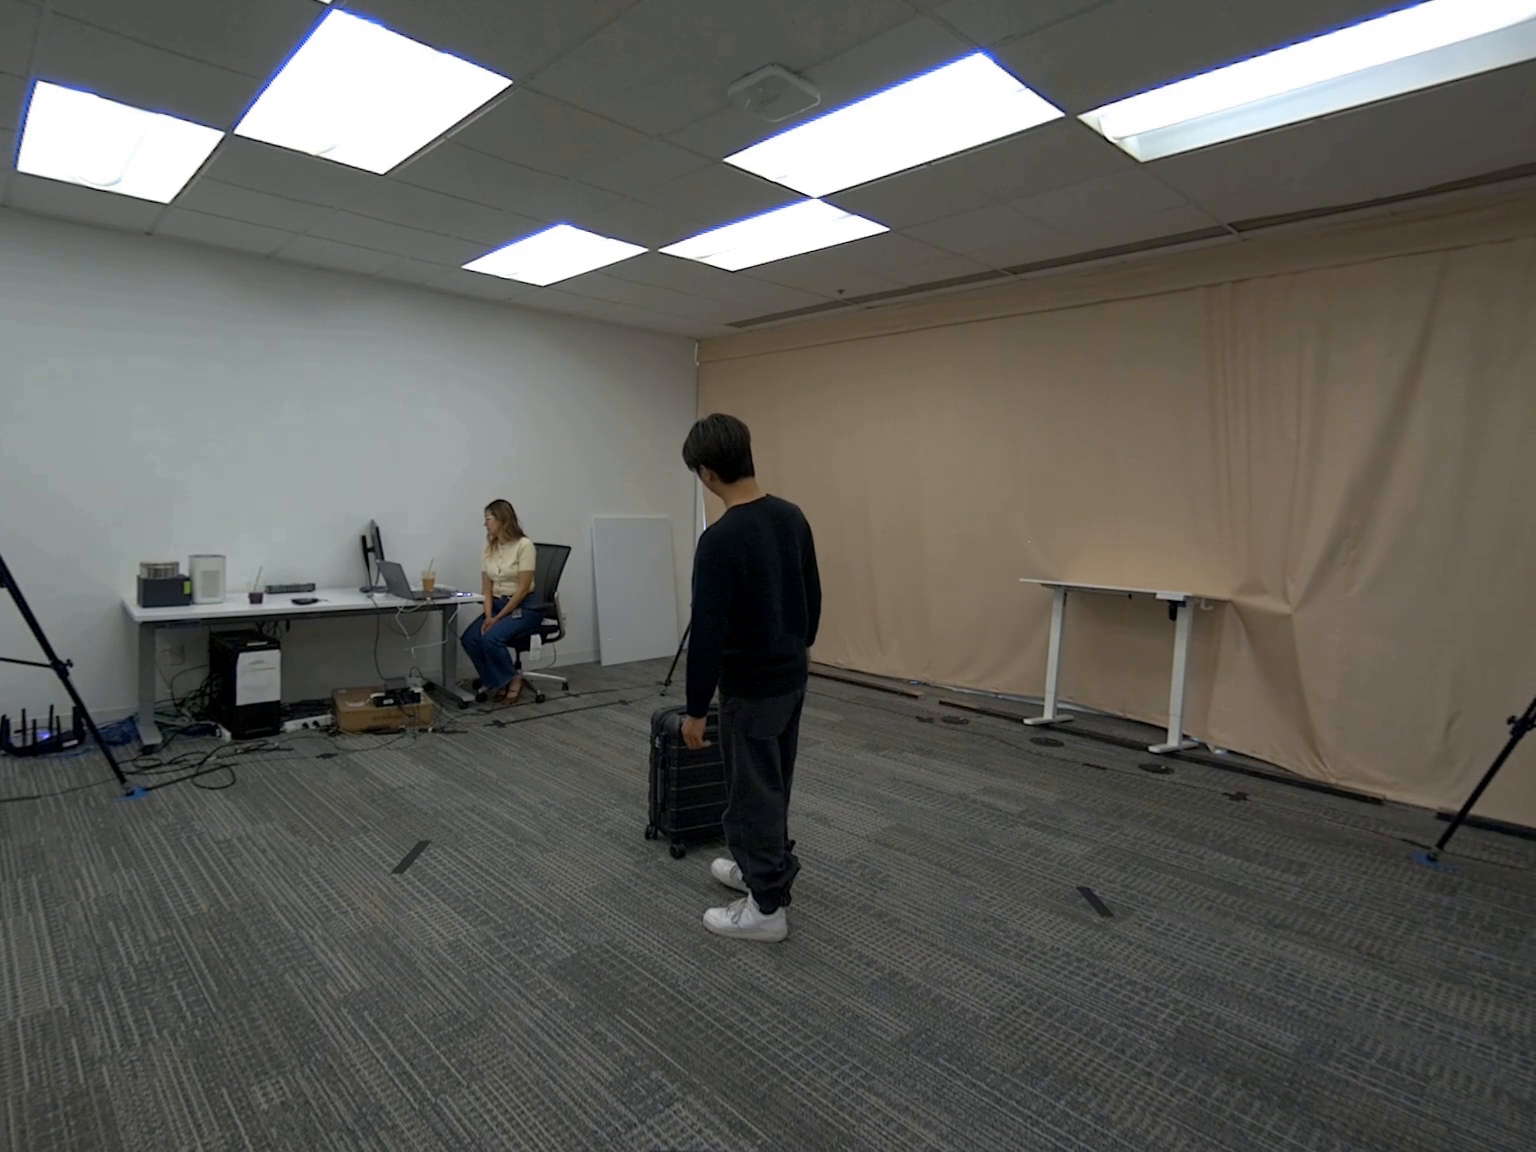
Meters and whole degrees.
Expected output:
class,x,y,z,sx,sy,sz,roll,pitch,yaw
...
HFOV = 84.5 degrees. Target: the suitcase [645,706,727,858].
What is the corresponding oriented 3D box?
class,x,y,z,sx,sy,sz,roll,pitch,yaw
suitcase,-0.299,0.597,3.419,0.376,0.978,0.262,1,1,-30
